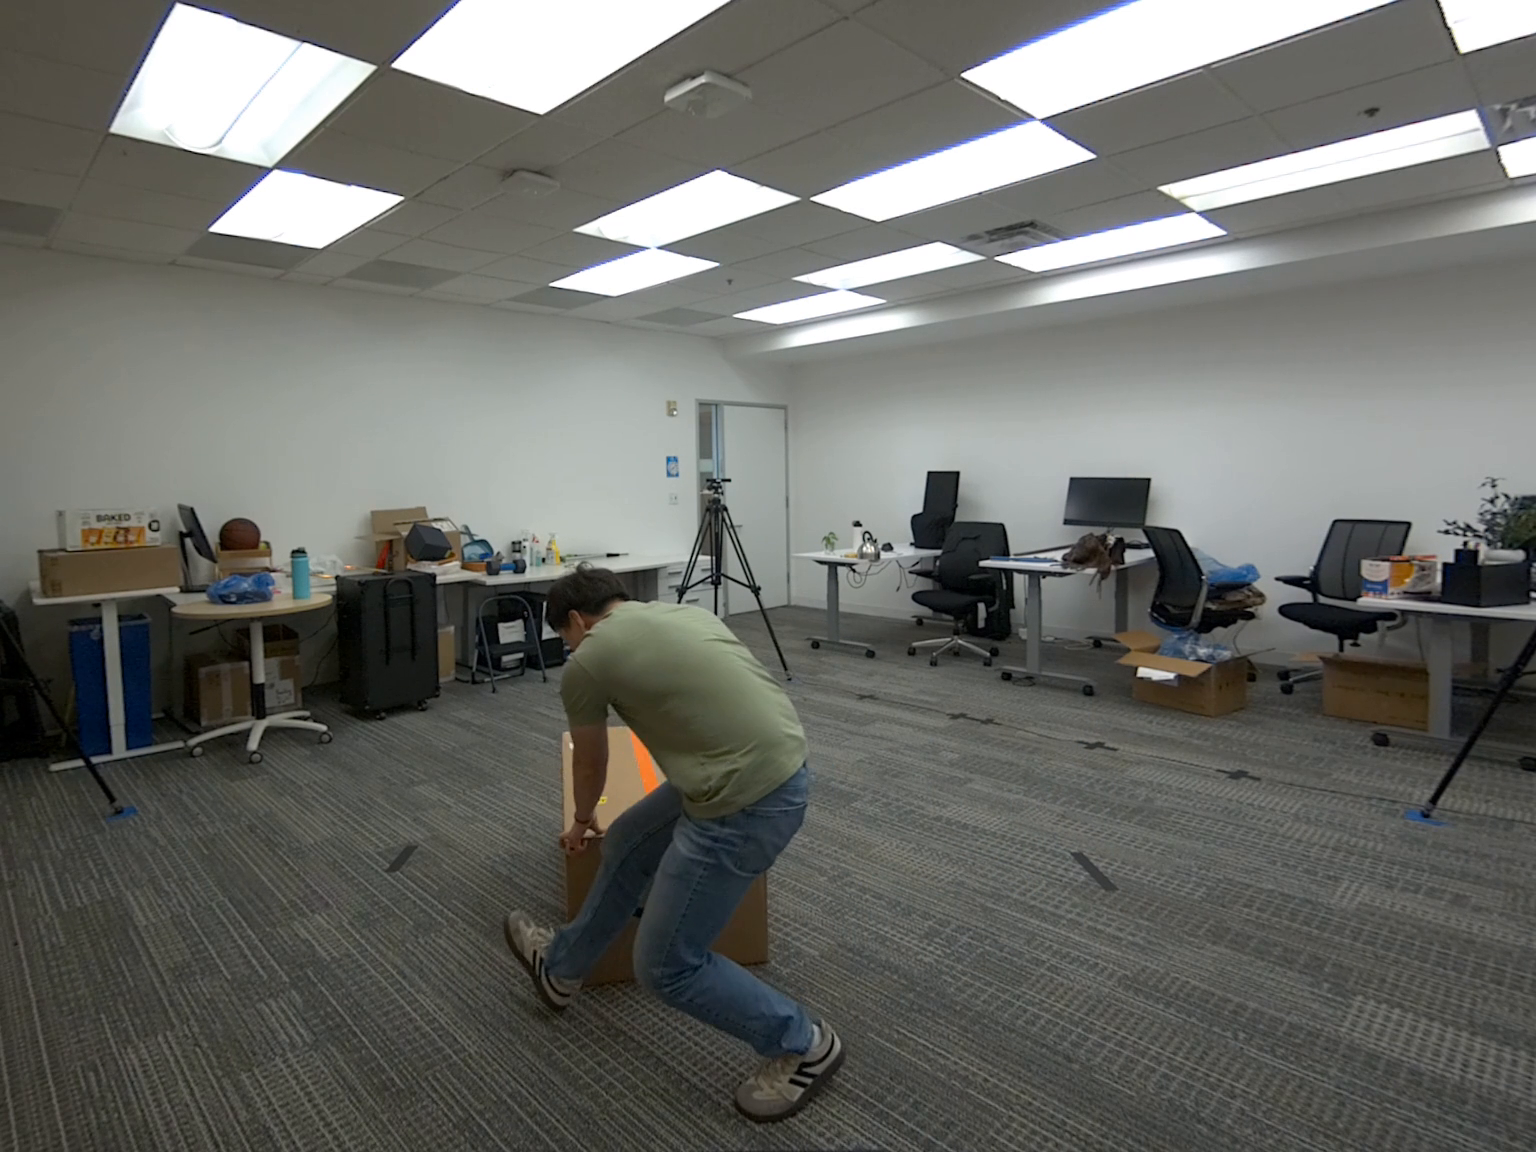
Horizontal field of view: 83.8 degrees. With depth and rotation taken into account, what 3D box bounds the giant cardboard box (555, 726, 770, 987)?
[{"bbox_3d":[-0.392,0.860,2.906,0.571,0.424,1.043,-3,7,-13],"label":"giant cardboard box"}]
